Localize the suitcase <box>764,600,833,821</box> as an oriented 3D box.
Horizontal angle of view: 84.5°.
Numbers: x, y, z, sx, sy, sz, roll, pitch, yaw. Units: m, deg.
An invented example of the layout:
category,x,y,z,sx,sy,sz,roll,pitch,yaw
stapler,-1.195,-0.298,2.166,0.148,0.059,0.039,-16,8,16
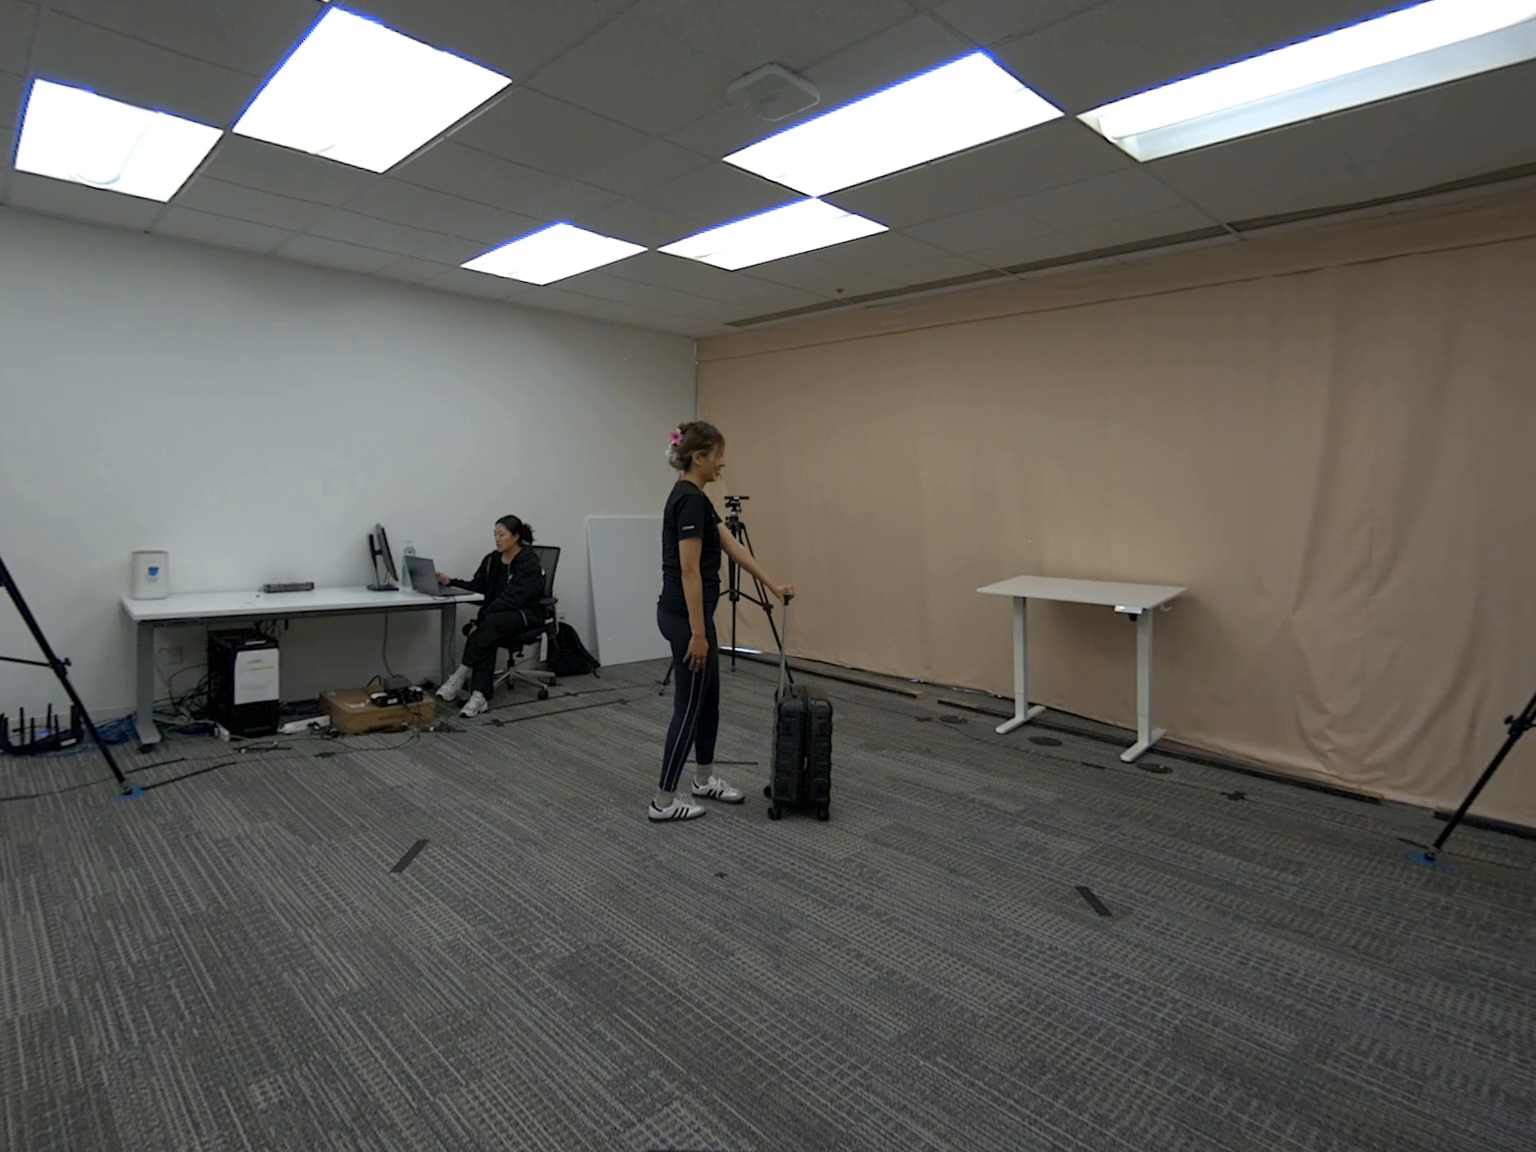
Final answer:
category,x,y,z,sx,sy,sz,roll,pitch,yaw
suitcase,0.152,0.574,3.784,0.257,0.976,0.385,4,4,-2
